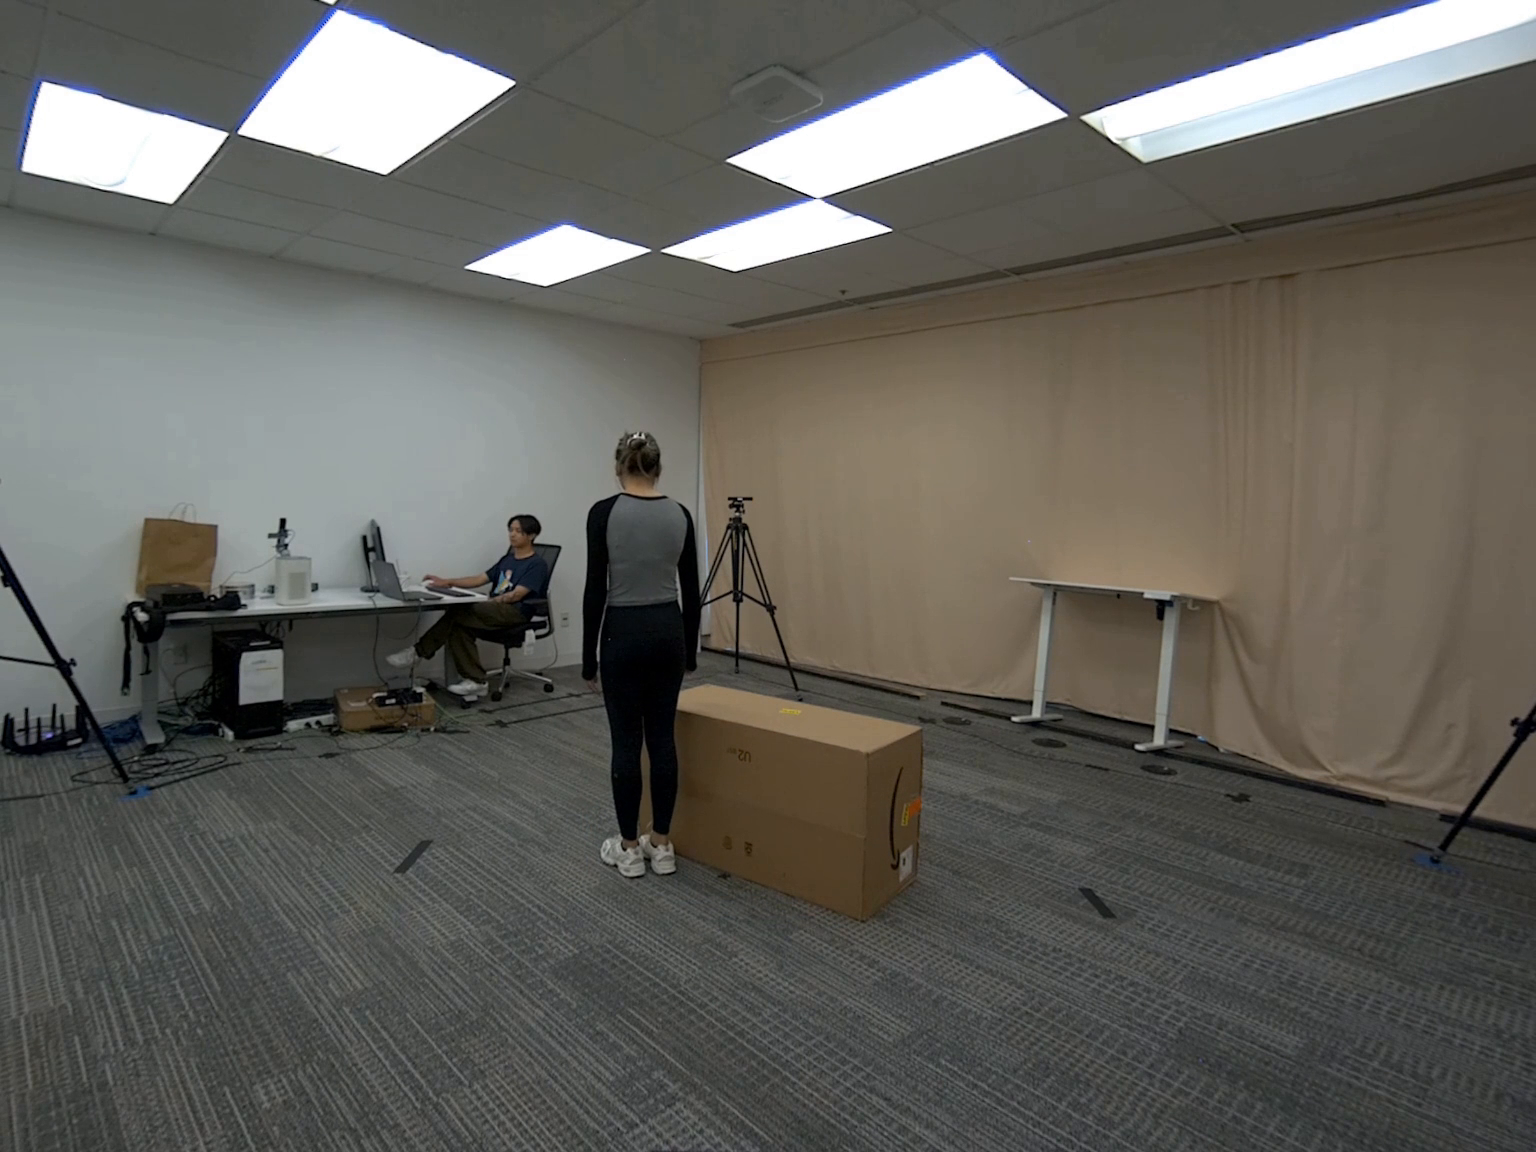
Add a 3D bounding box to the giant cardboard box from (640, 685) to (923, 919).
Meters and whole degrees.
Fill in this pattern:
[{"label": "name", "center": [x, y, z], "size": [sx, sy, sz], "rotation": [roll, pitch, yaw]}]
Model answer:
[{"label": "giant cardboard box", "center": [0.025, 0.814, 3.243], "size": [1.051, 0.576, 0.417], "rotation": [5, 6, 37]}]
